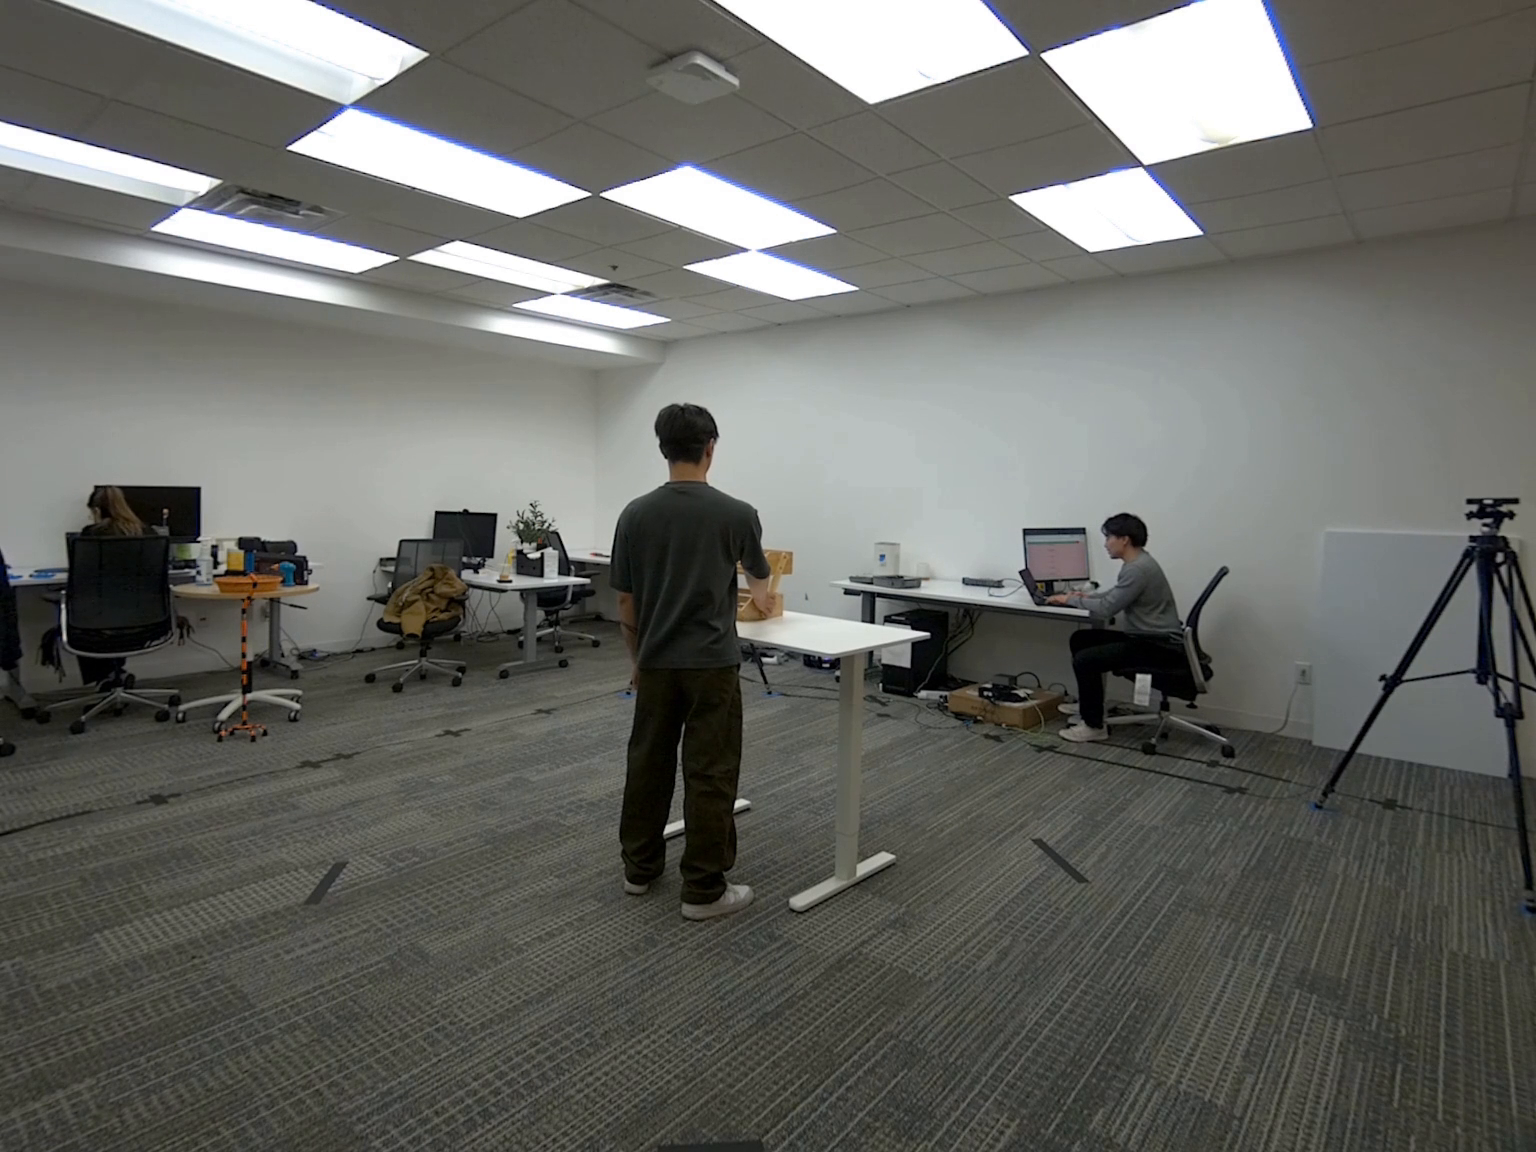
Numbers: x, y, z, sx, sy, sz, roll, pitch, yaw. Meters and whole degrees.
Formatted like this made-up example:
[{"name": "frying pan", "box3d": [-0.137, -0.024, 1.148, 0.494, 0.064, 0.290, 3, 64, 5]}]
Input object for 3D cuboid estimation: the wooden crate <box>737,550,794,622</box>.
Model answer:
[{"name": "wooden crate", "box3d": [-0.125, 0.017, 3.440, 0.336, 0.272, 0.293, 6, 5, 41]}]
